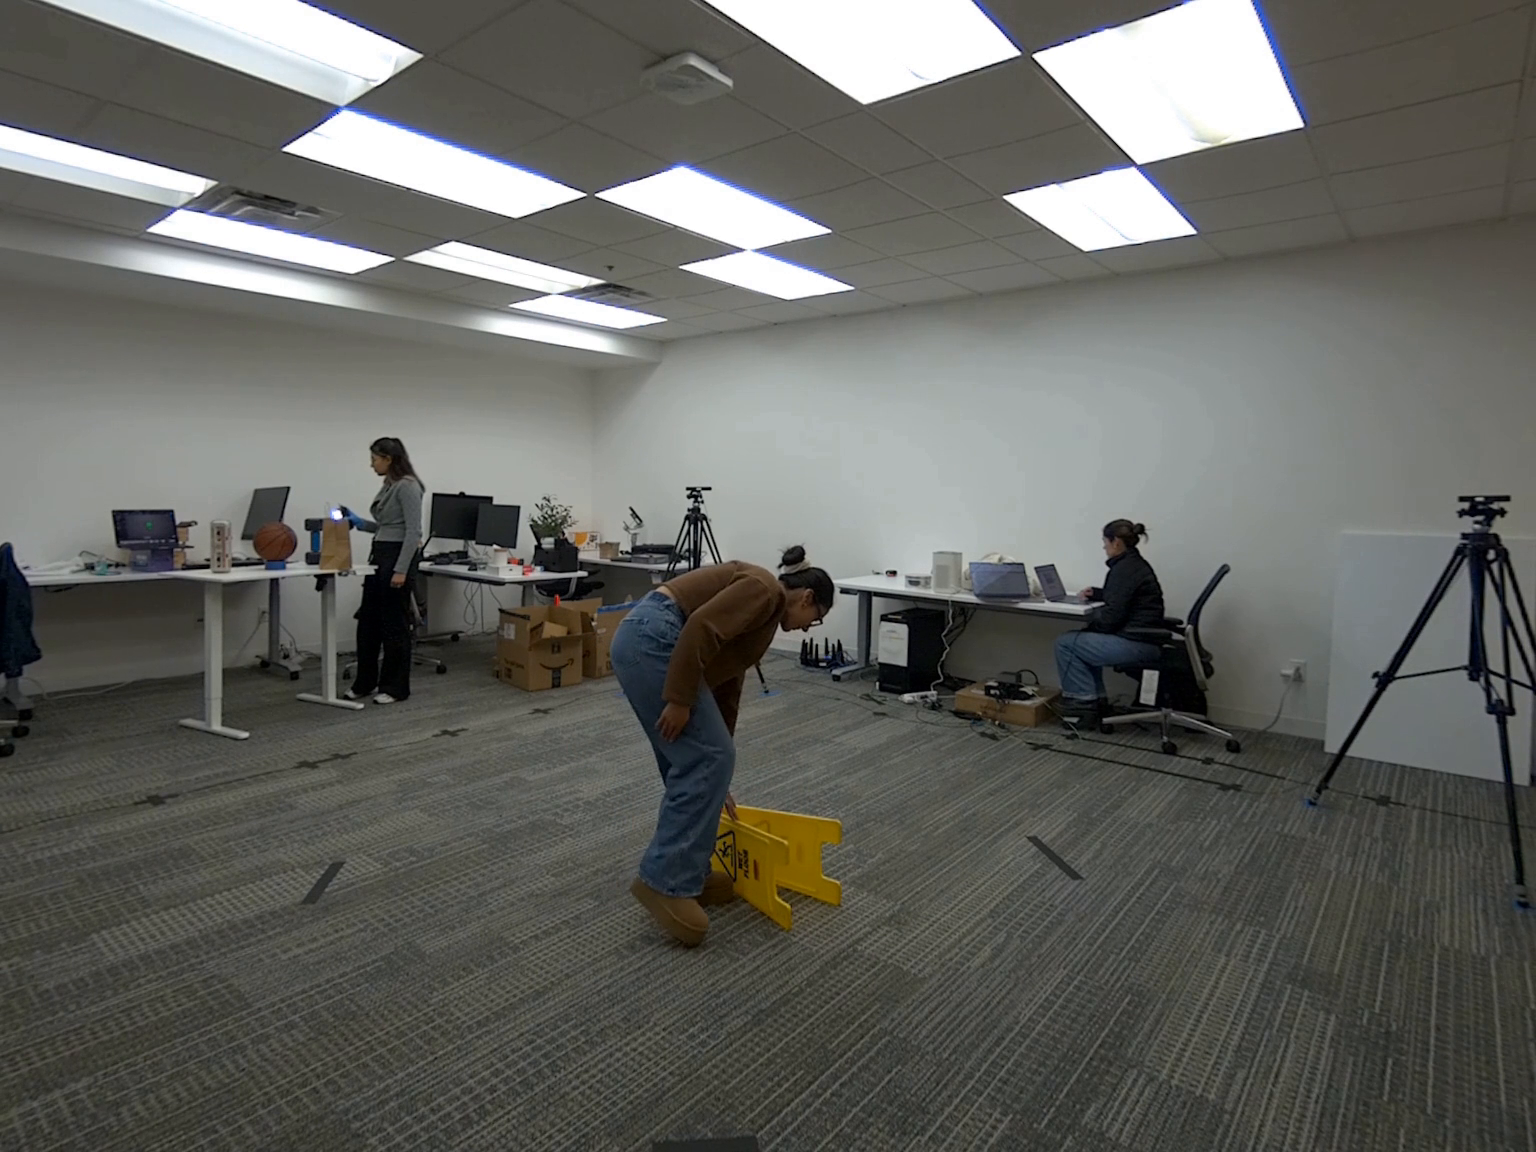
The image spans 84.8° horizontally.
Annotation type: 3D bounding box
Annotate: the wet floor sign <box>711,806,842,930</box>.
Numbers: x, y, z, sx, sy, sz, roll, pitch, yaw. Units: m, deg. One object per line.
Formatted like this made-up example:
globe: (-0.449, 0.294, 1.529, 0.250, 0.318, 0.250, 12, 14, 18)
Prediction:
wet floor sign: (-0.093, 0.953, 2.987, 0.667, 0.282, 0.281, 2, 3, 44)
